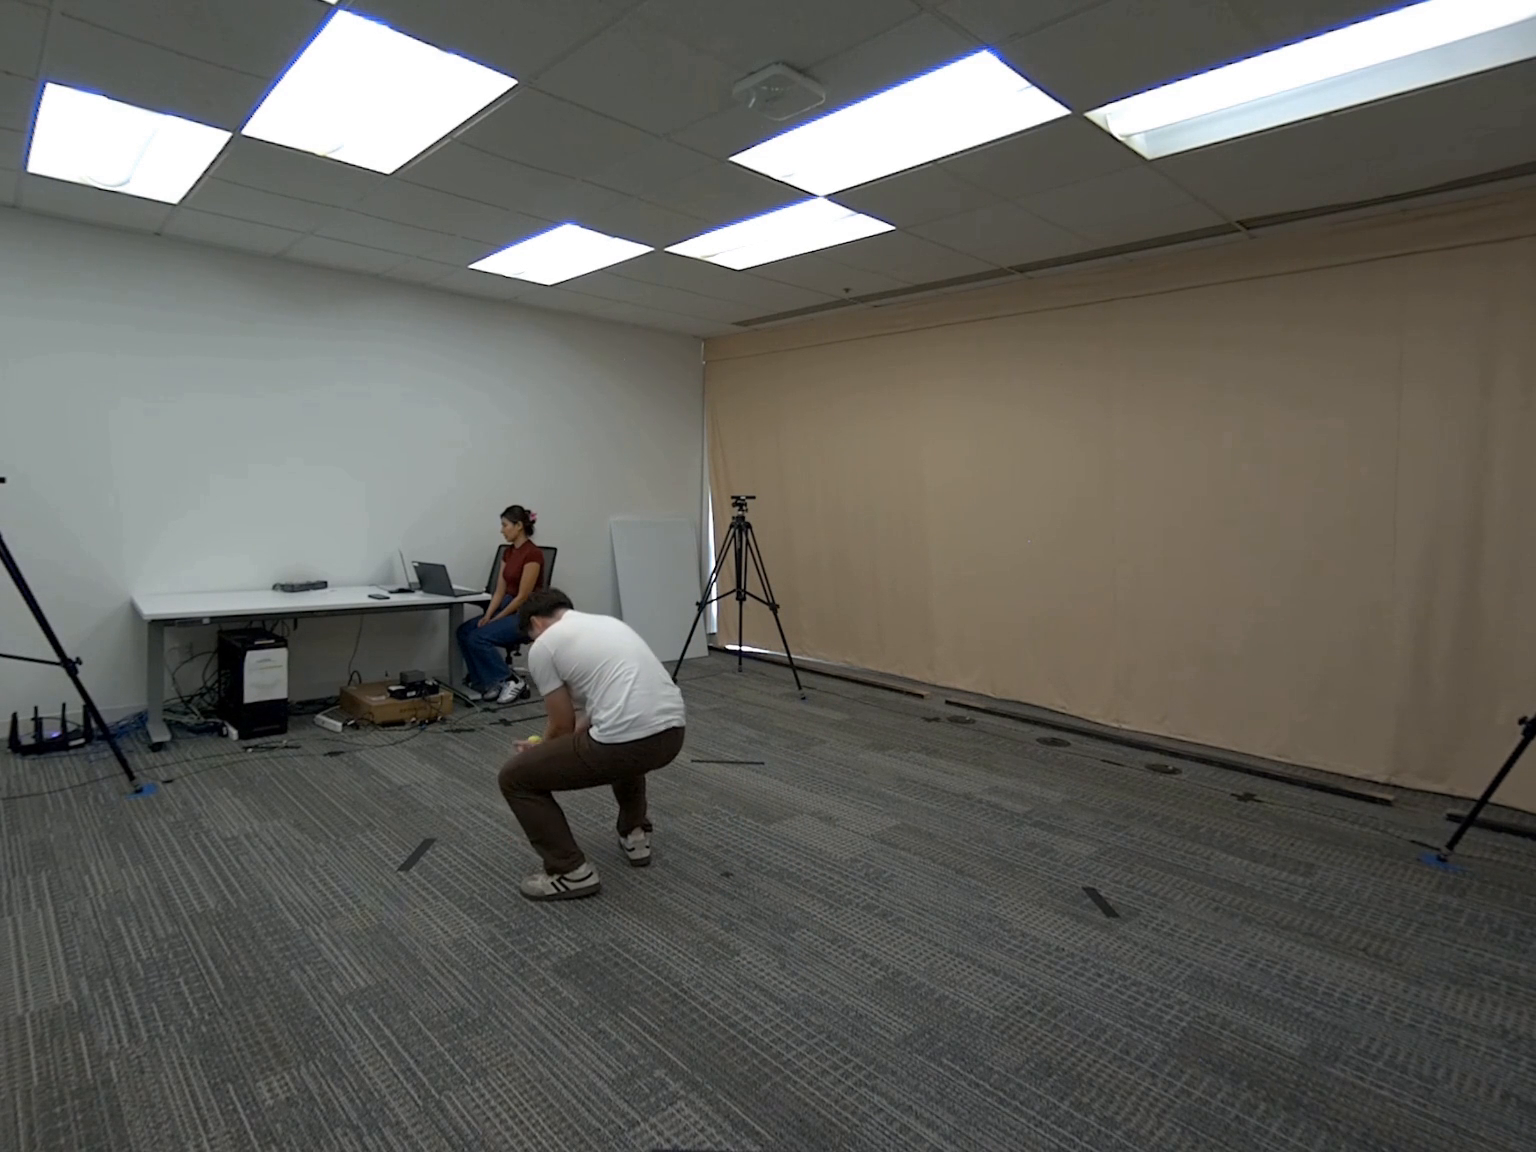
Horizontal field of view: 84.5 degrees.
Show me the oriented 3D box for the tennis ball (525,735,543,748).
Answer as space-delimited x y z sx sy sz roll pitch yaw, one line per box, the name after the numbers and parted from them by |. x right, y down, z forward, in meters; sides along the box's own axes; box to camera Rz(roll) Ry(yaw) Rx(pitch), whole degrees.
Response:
-0.903 0.666 3.281 0.066 0.066 0.067 1 4 -1 | tennis ball
